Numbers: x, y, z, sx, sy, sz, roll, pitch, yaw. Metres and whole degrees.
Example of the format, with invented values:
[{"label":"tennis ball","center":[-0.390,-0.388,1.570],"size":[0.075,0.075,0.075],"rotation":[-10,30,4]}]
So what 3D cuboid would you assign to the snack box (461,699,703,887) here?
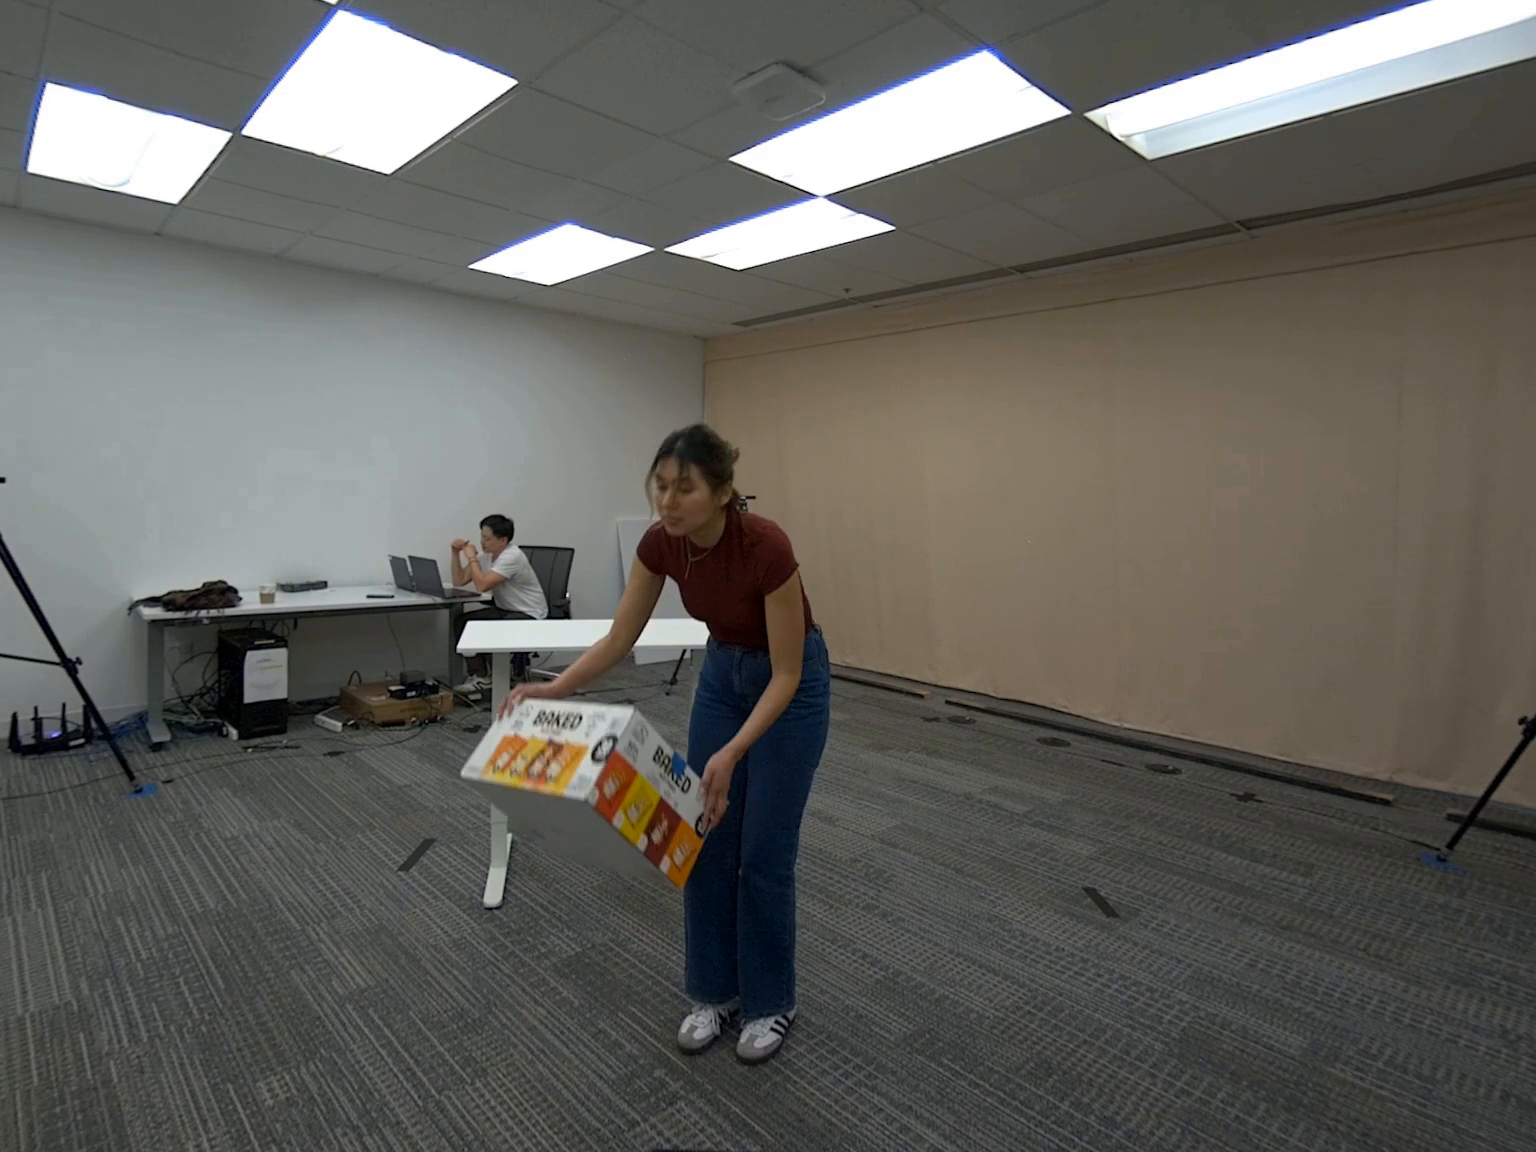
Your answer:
[{"label":"snack box","center":[-0.377,0.463,1.794],"size":[0.414,0.331,0.207],"rotation":[-5,43,38]}]
